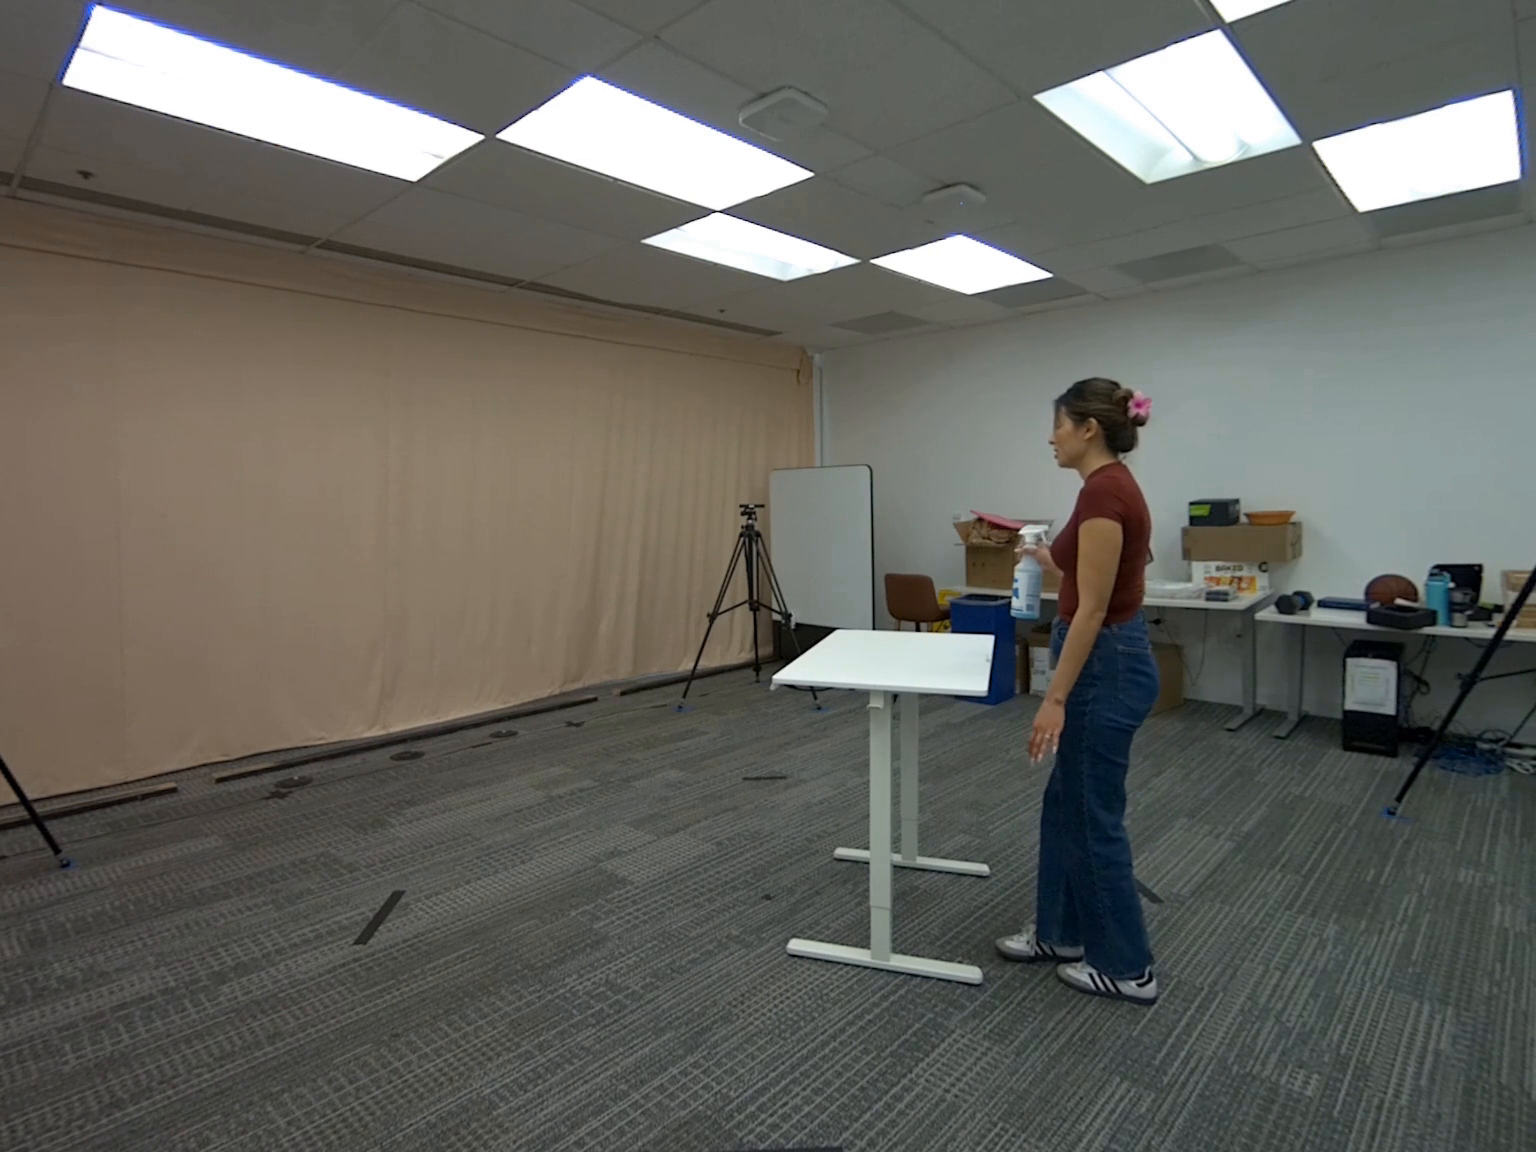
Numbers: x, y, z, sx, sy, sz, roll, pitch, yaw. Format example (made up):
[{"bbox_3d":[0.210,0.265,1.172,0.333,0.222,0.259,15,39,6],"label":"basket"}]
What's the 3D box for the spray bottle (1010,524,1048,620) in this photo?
[{"bbox_3d":[0.843,-0.015,2.694,0.084,0.297,0.093,1,2,-30],"label":"spray bottle"}]
